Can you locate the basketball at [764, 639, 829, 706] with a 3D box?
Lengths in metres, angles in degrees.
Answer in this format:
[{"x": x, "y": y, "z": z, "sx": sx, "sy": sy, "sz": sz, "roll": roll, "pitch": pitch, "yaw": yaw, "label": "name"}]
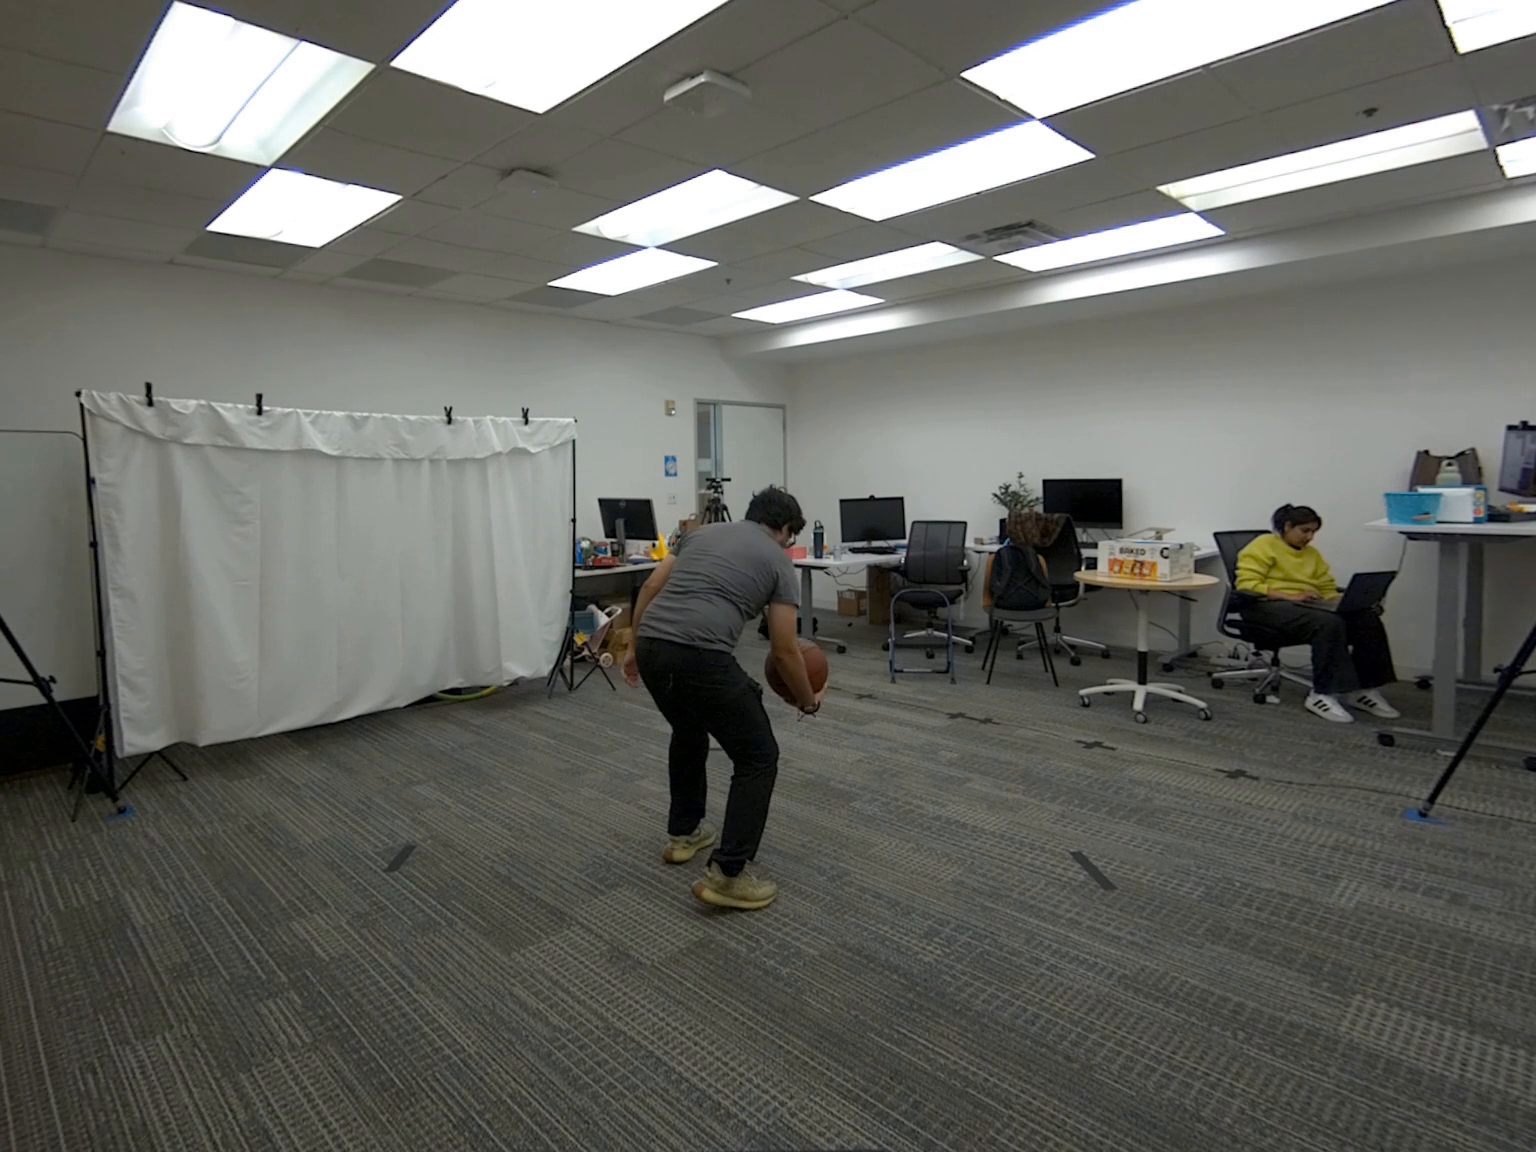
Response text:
[{"x": 0.108, "y": 0.358, "z": 3.218, "sx": 0.236, "sy": 0.235, "sz": 0.237, "roll": -1, "pitch": 5, "yaw": -2, "label": "basketball"}]
